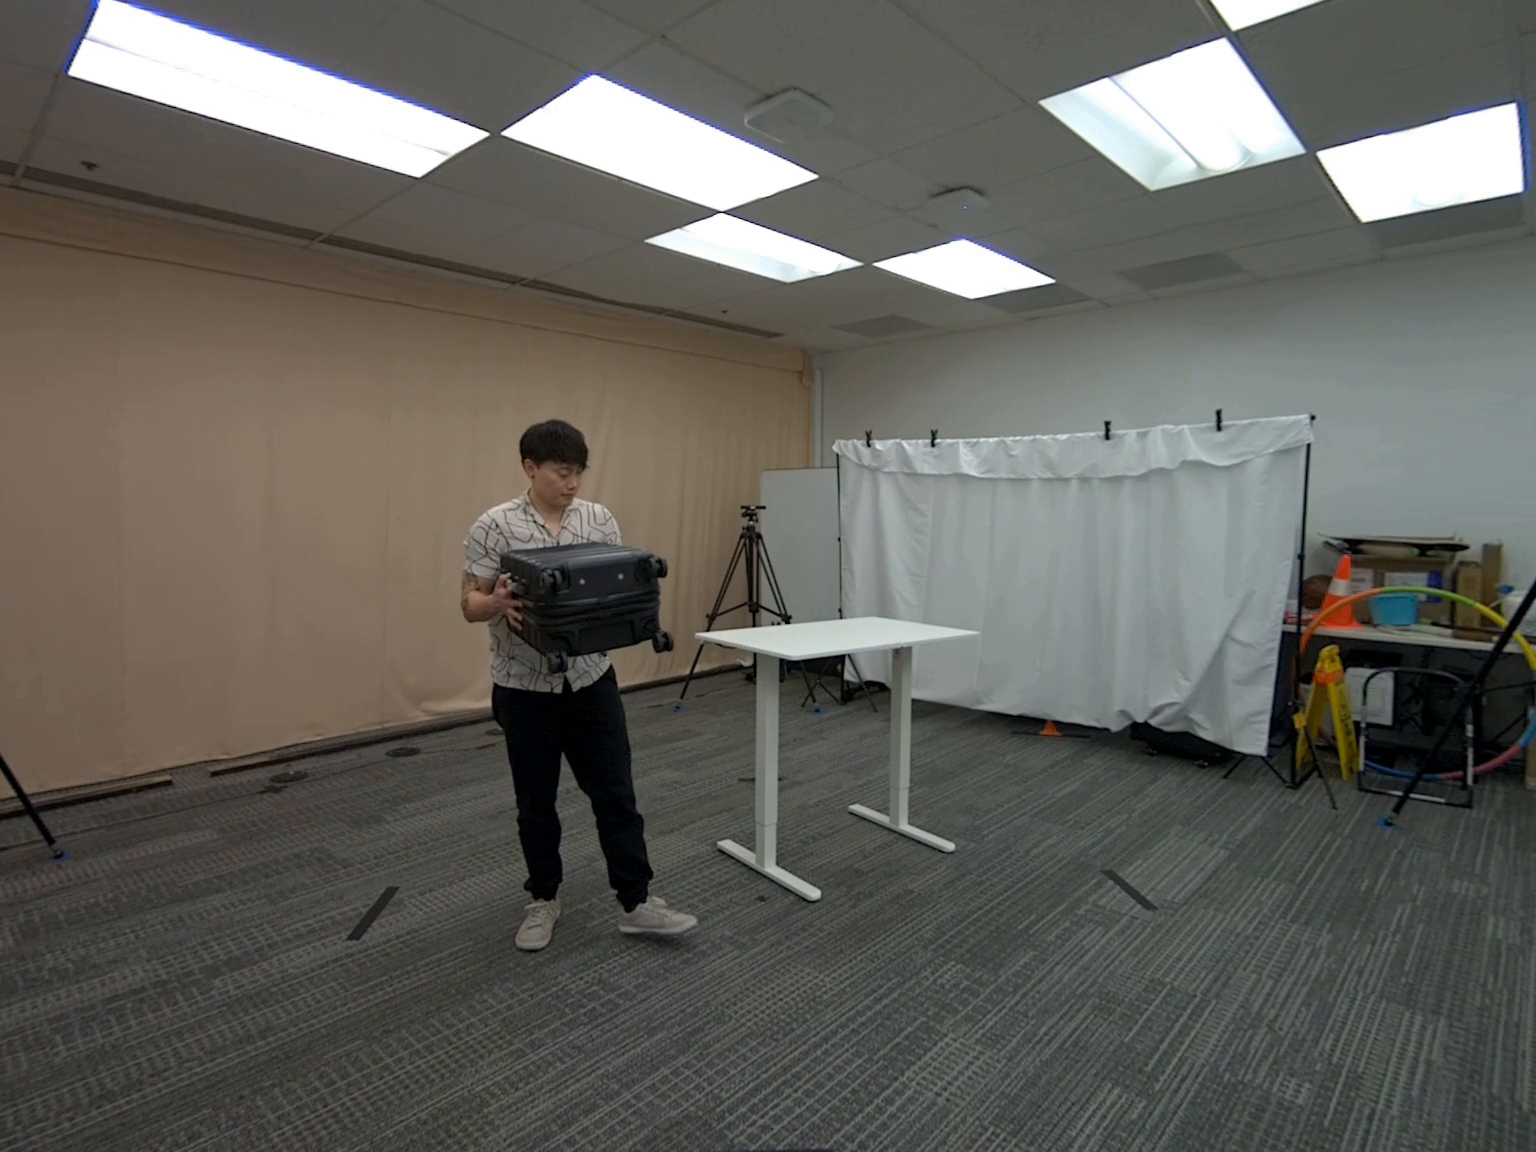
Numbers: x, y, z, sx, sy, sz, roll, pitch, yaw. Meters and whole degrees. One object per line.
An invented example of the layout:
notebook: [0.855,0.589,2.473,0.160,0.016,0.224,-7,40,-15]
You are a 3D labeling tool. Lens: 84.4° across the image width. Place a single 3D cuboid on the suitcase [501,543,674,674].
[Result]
suitcase: [-0.542,0.055,2.384,0.366,0.247,0.567,-8,10,-31]
